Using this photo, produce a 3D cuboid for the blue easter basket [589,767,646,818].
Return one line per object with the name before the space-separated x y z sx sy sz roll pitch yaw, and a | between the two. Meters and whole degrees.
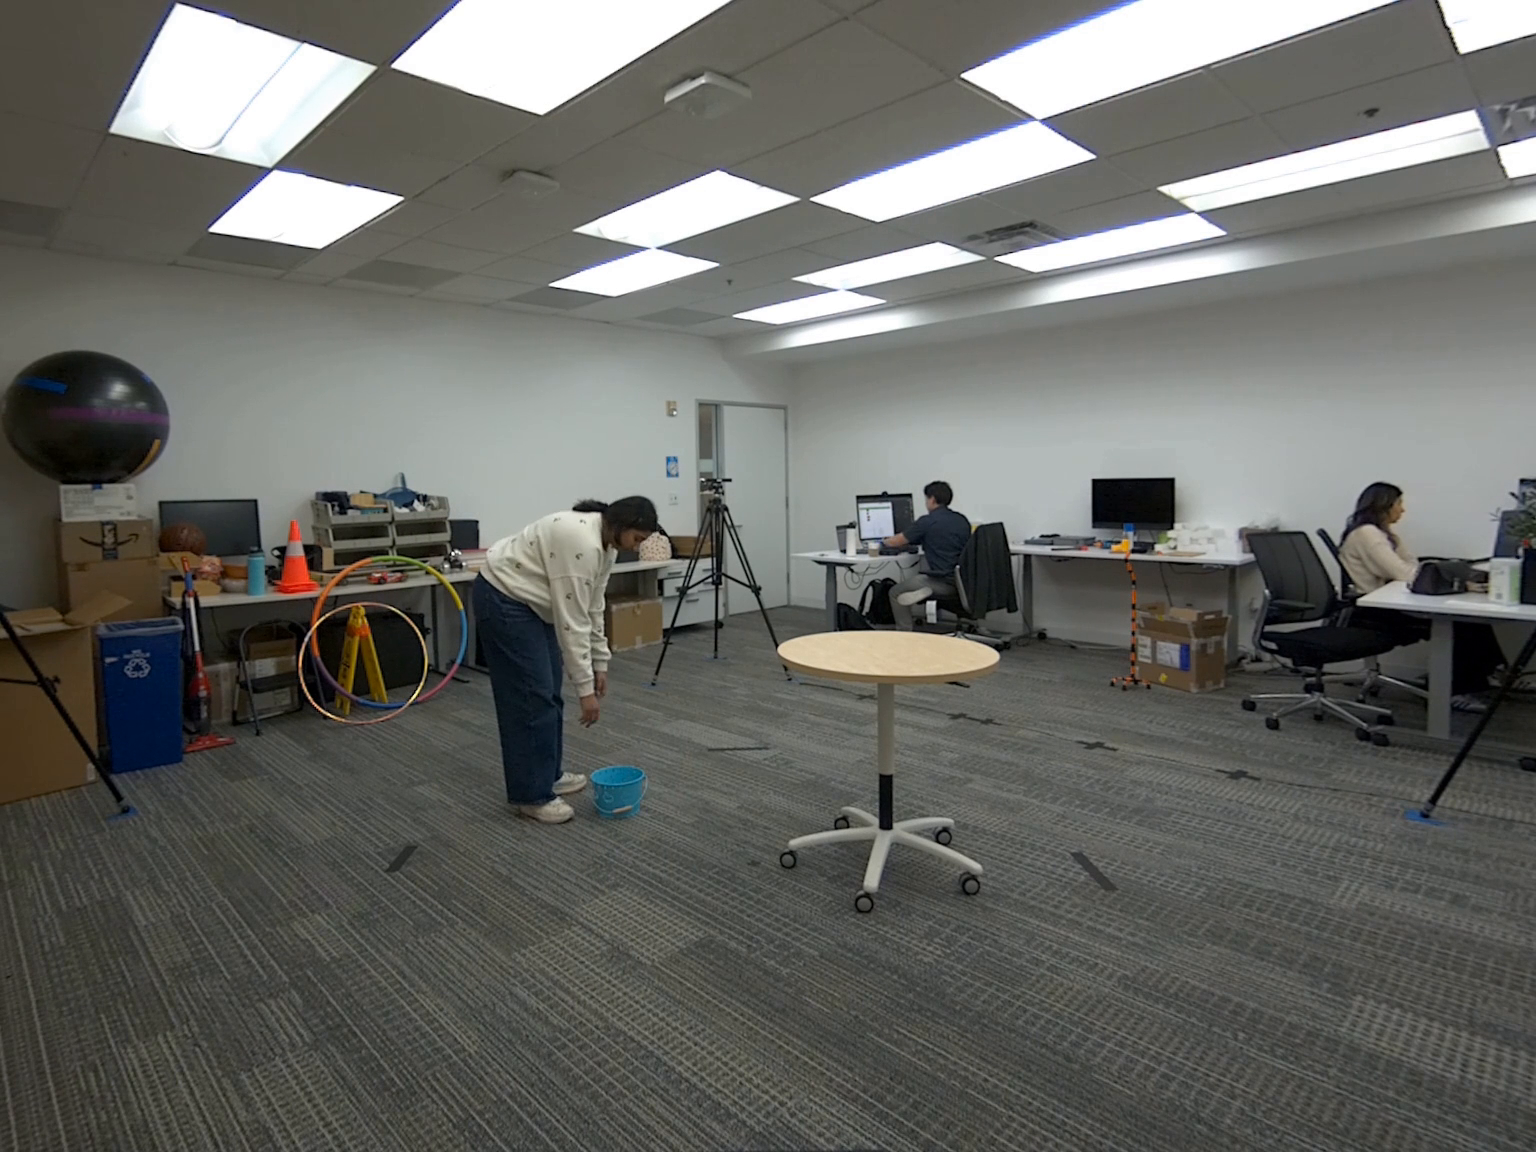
blue easter basket | -0.639 0.913 3.625 0.243 0.155 0.245 -1 5 -2
